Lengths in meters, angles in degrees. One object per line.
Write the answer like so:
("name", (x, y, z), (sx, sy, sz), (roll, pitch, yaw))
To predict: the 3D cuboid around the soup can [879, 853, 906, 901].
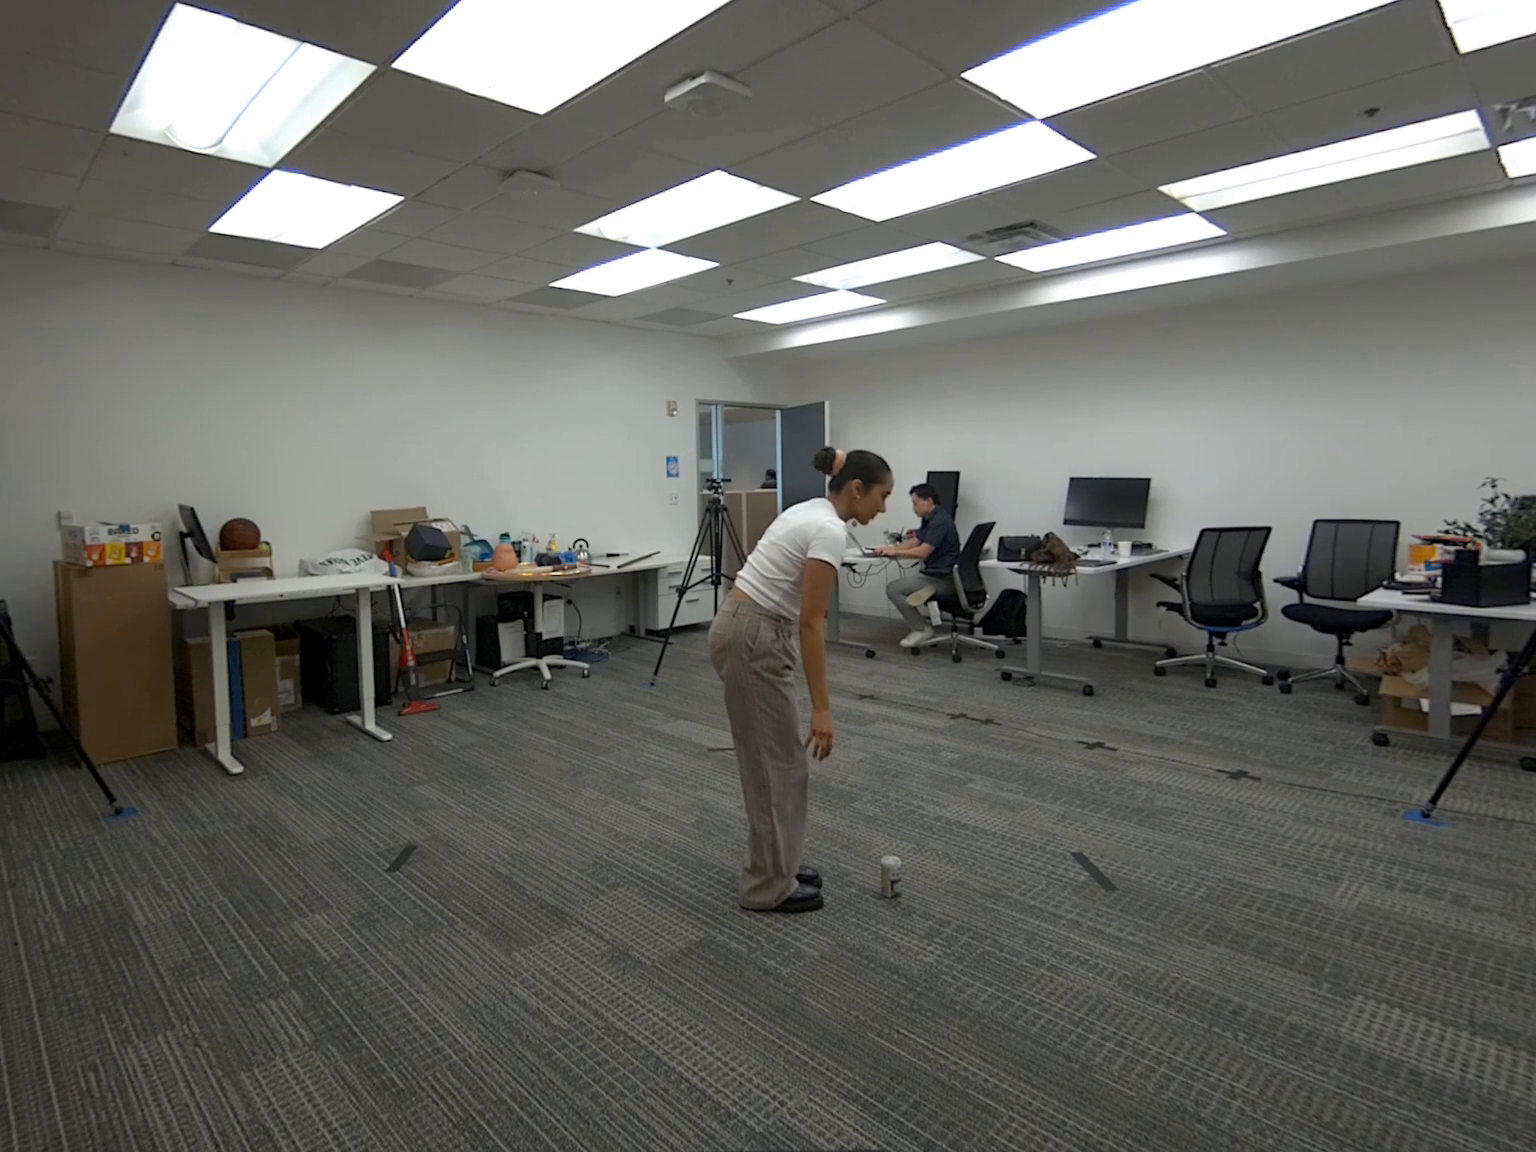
("soup can", (0.410, 0.999, 2.847), (0.067, 0.121, 0.067), (2, 5, -2))
